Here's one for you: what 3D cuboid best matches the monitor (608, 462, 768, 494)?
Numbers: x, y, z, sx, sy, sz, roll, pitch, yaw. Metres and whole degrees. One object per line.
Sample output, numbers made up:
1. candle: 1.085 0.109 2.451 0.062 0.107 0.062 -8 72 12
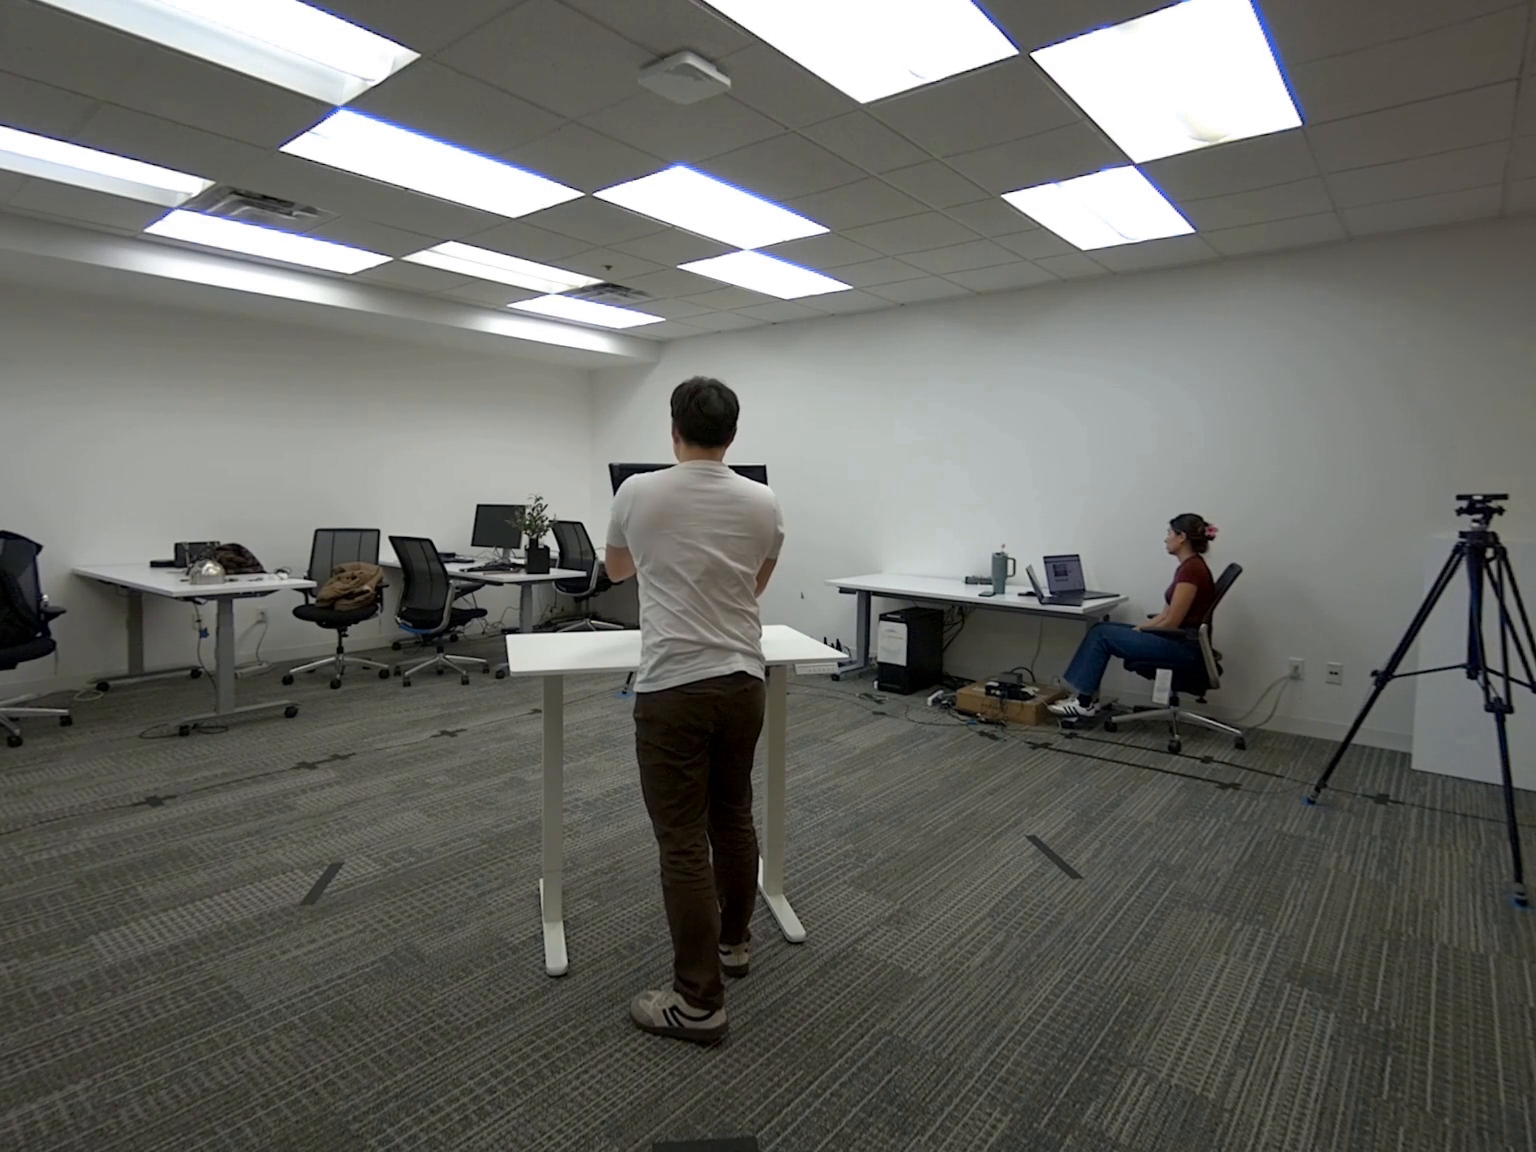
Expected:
1. monitor: -0.266 -0.104 2.764 0.548 0.516 0.186 2 12 15
